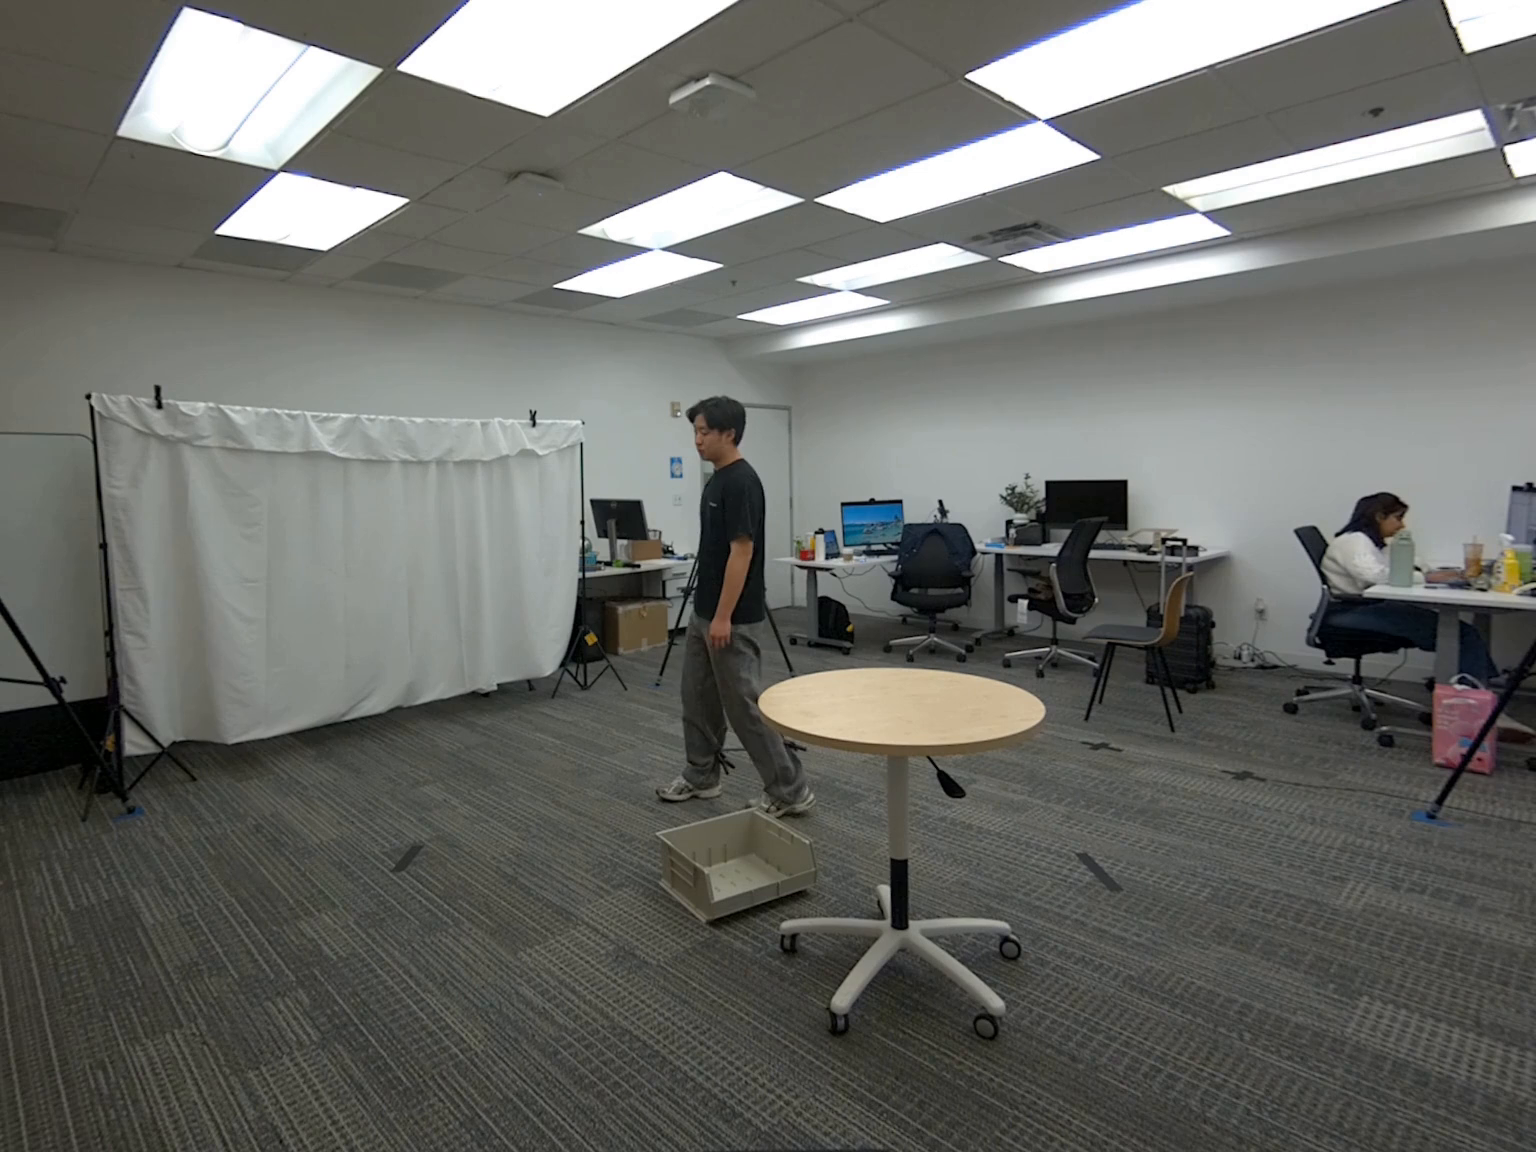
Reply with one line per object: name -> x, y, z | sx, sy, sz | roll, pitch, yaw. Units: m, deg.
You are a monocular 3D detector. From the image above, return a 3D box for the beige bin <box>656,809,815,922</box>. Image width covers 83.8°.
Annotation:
beige bin -> -0.112, 0.984, 2.915 | 0.412, 0.188, 0.388 | -5, 6, -33
